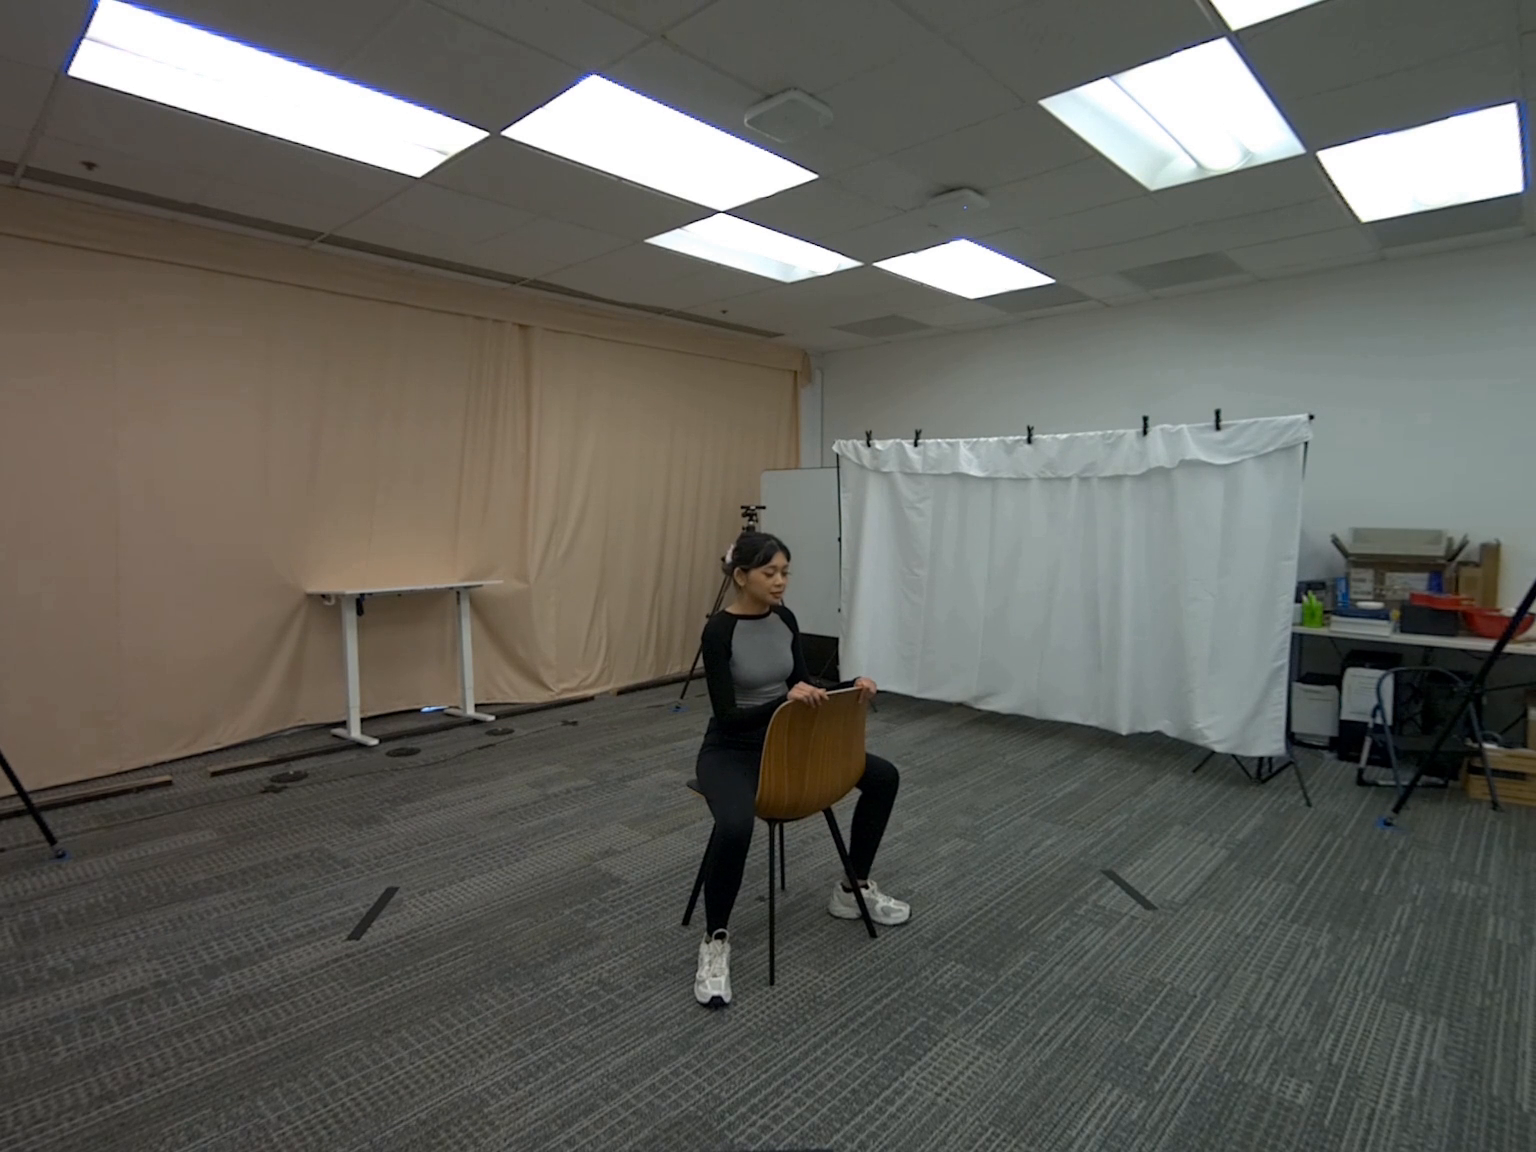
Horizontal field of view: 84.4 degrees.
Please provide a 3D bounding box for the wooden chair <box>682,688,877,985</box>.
[{"bbox_3d":[0.028,0.736,2.736,0.463,0.874,0.541,-2,9,-39],"label":"wooden chair"}]
